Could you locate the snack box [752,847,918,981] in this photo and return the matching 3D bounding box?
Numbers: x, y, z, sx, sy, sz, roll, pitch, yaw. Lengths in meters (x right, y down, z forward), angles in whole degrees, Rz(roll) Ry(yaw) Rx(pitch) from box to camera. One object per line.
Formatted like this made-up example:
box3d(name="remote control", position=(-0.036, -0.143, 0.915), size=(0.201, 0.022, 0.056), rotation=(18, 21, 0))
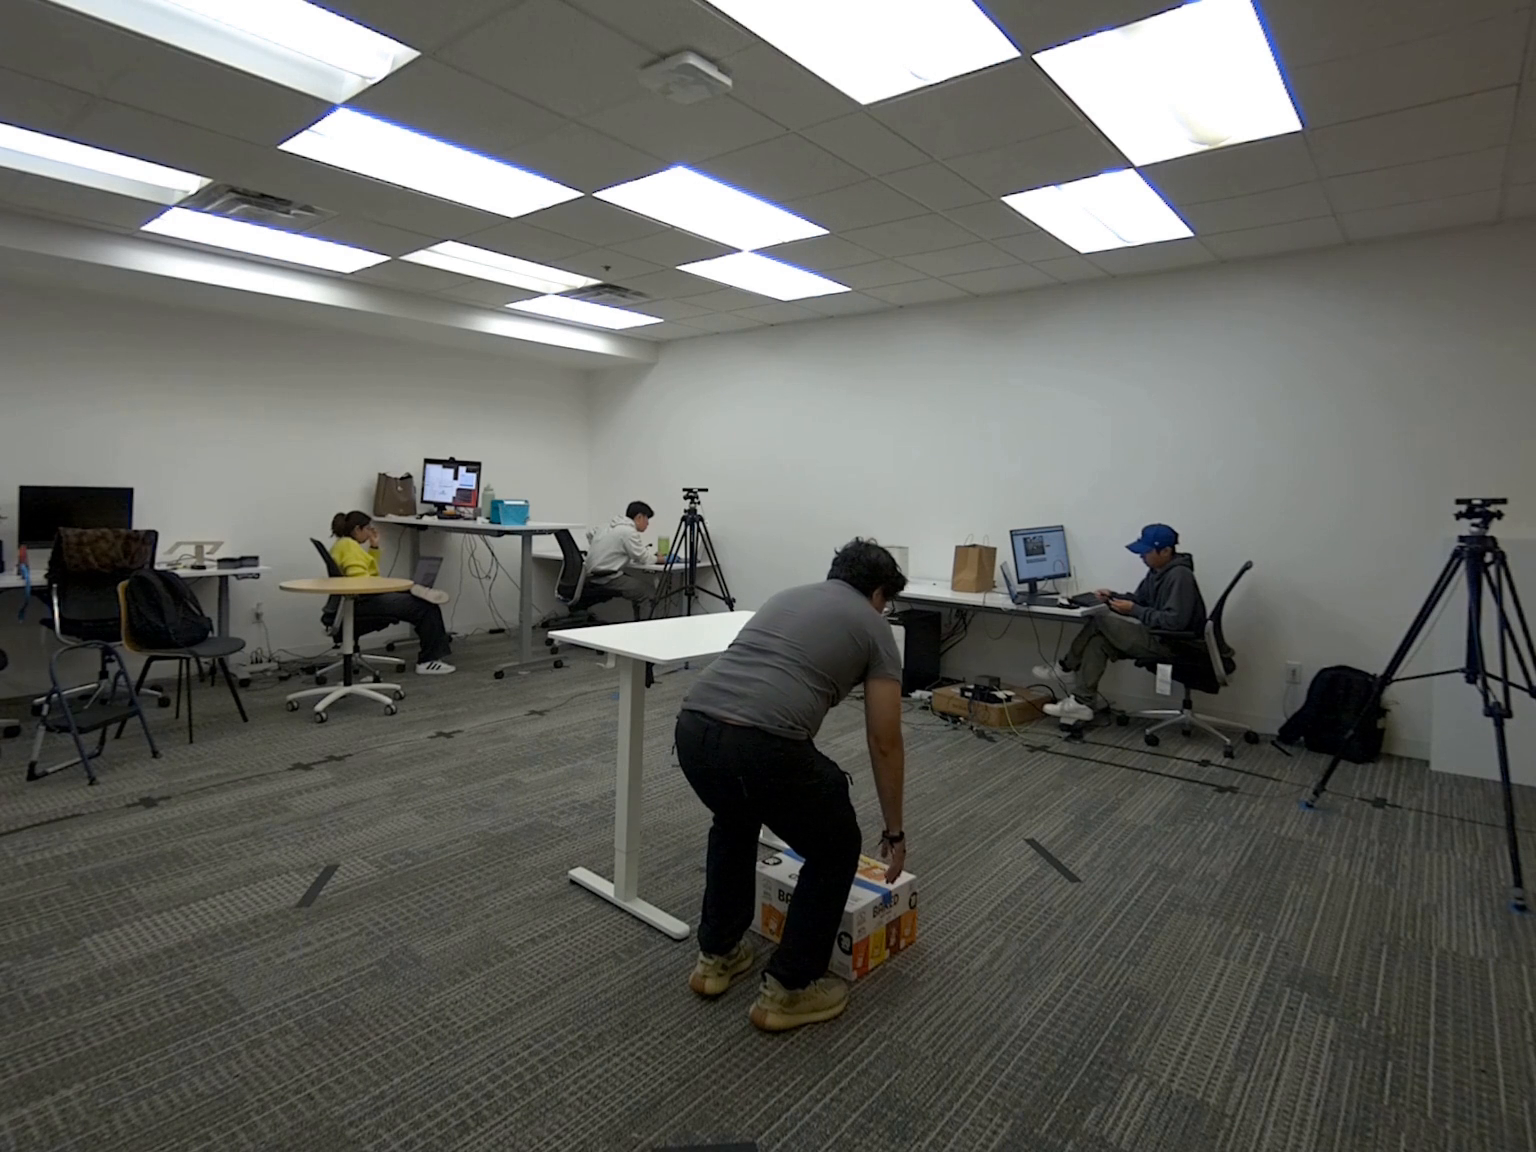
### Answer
box3d(name="snack box", position=(0.193, 1.021, 2.659), size=(0.419, 0.205, 0.330), rotation=(6, 7, 42))
